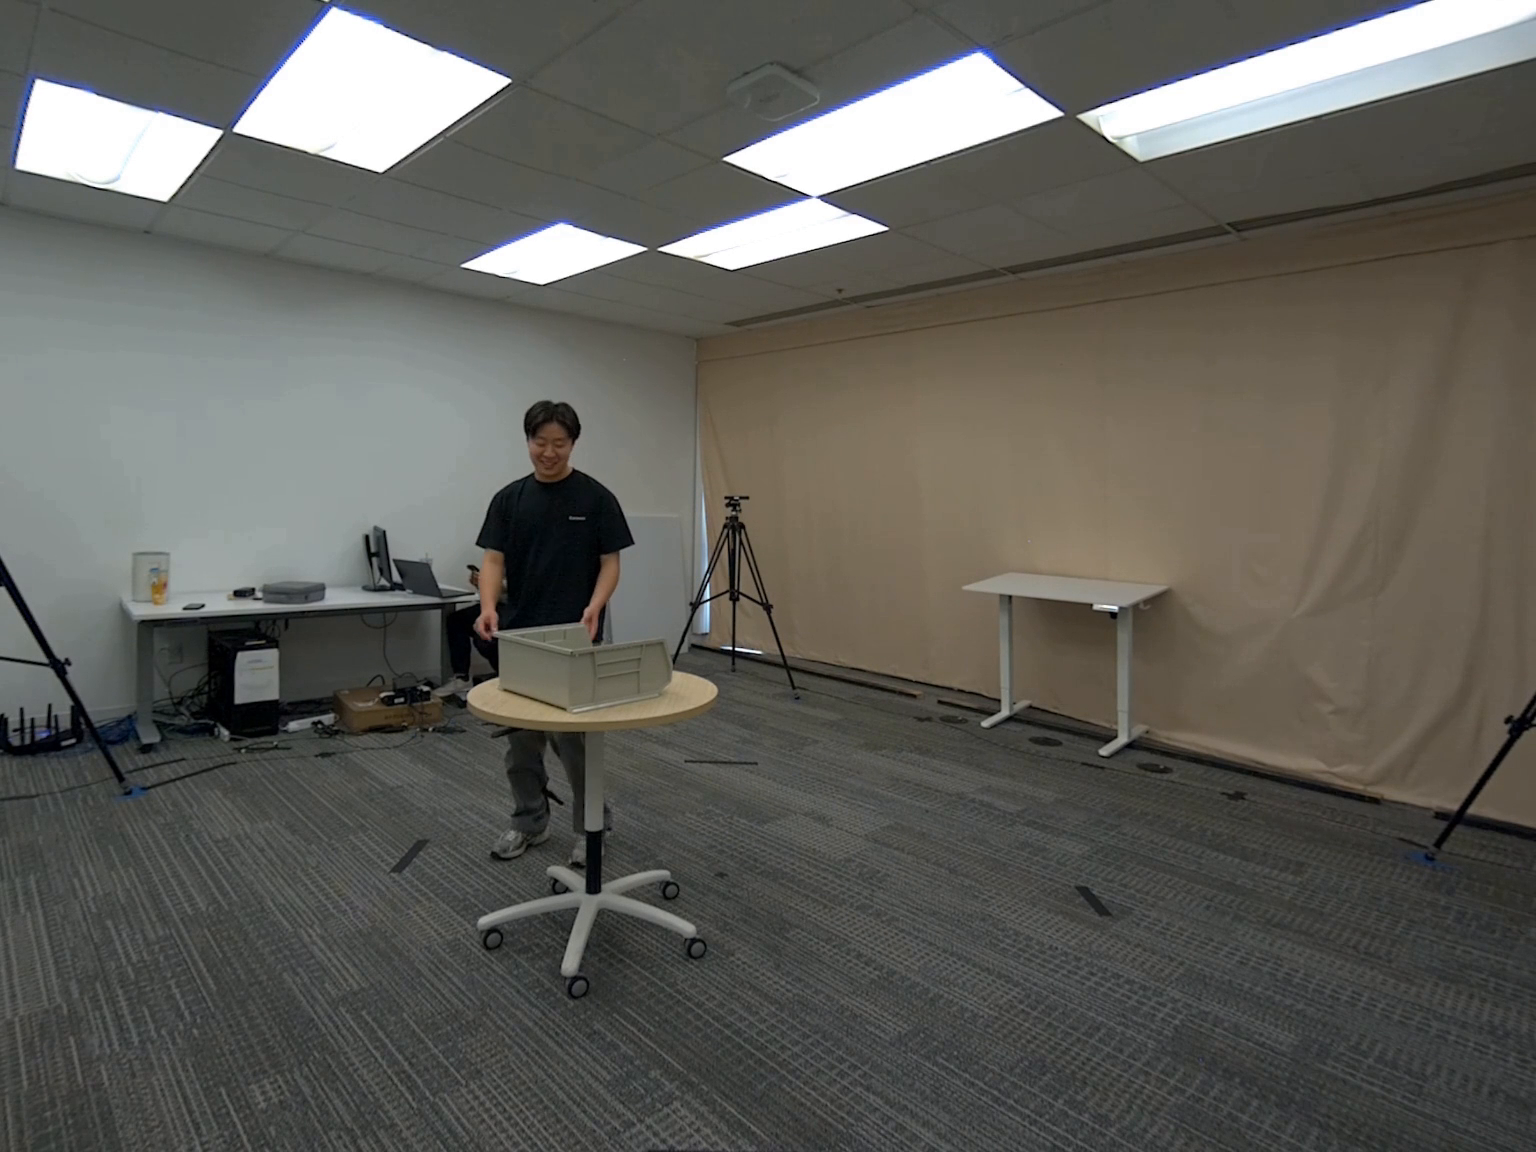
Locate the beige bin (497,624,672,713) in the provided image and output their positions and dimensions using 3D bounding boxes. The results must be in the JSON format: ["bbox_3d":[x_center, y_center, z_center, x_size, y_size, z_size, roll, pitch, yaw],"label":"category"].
[{"bbox_3d":[-0.573,0.272,2.583,0.433,0.188,0.369,6,7,43],"label":"beige bin"}]
